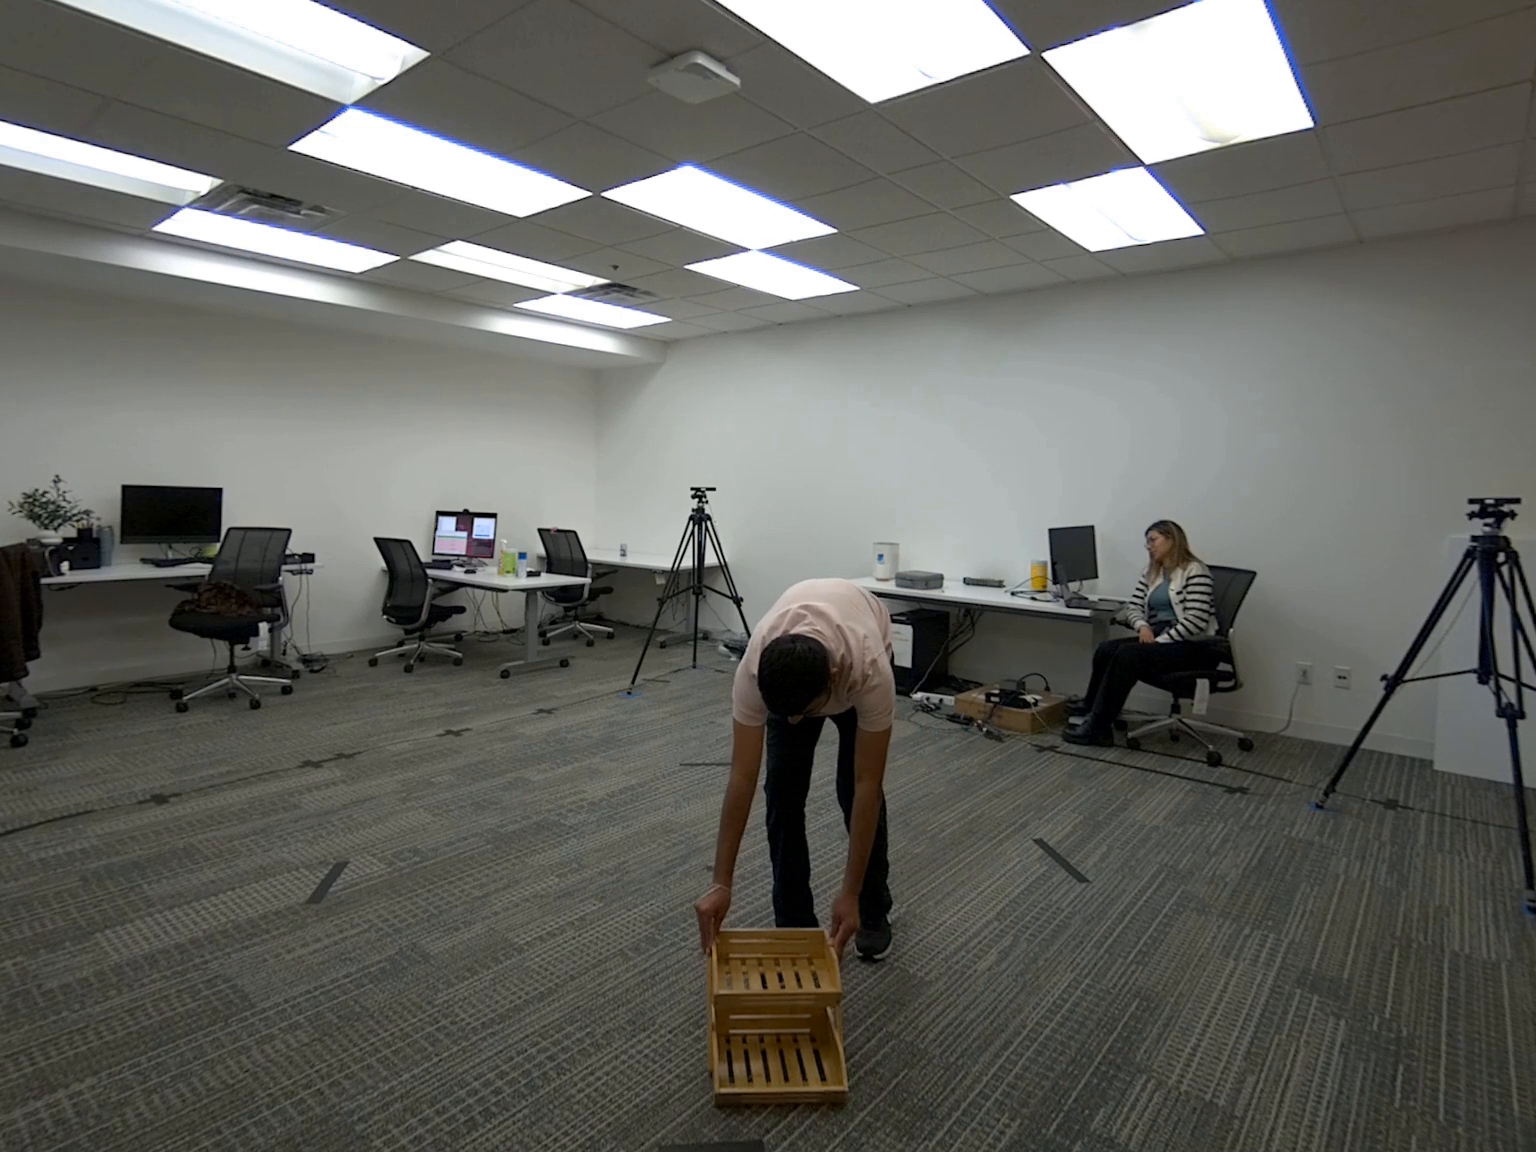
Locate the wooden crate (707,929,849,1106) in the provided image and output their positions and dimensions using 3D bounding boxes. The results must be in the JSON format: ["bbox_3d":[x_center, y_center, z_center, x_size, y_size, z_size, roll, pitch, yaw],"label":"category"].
[{"bbox_3d":[0.022,1.056,2.035,0.323,0.272,0.304,1,5,-4],"label":"wooden crate"}]
